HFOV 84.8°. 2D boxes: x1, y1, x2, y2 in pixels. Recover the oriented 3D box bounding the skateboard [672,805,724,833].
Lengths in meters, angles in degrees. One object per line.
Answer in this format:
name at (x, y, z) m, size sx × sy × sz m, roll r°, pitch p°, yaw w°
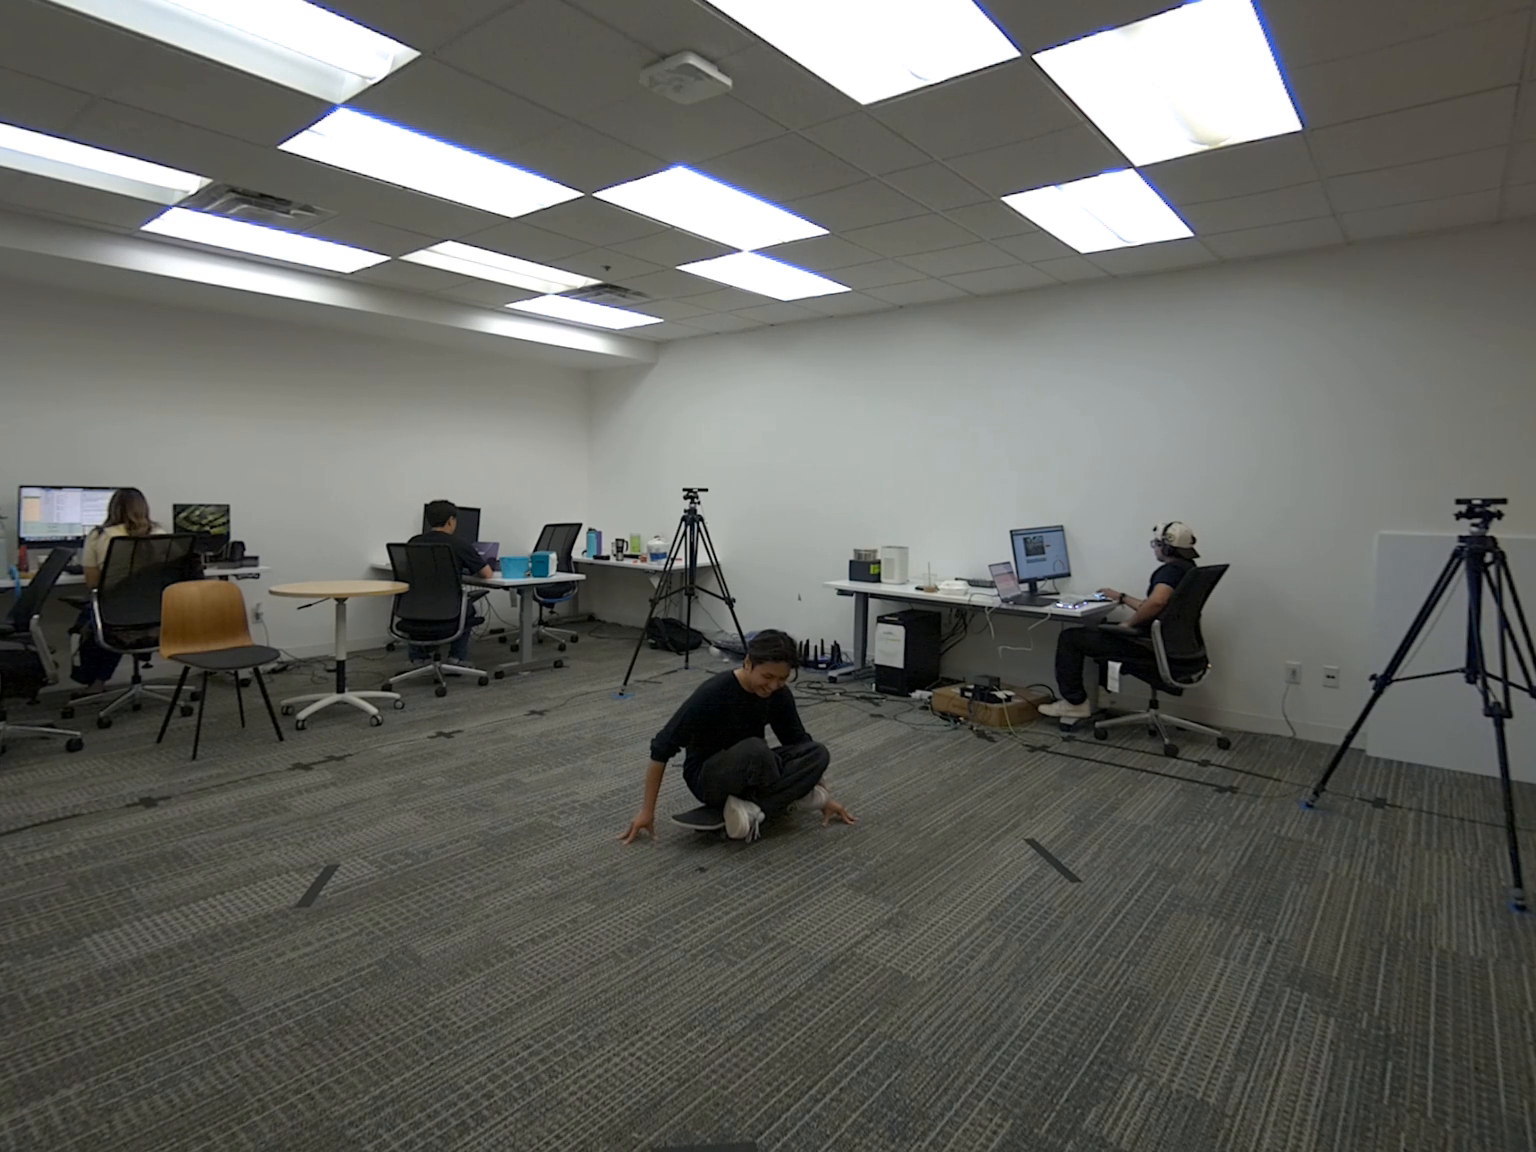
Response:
skateboard at (-0.096, 0.980, 3.558) m, size 0.200 × 0.110 × 0.762 m, roll 4°, pitch 6°, yaw 44°
